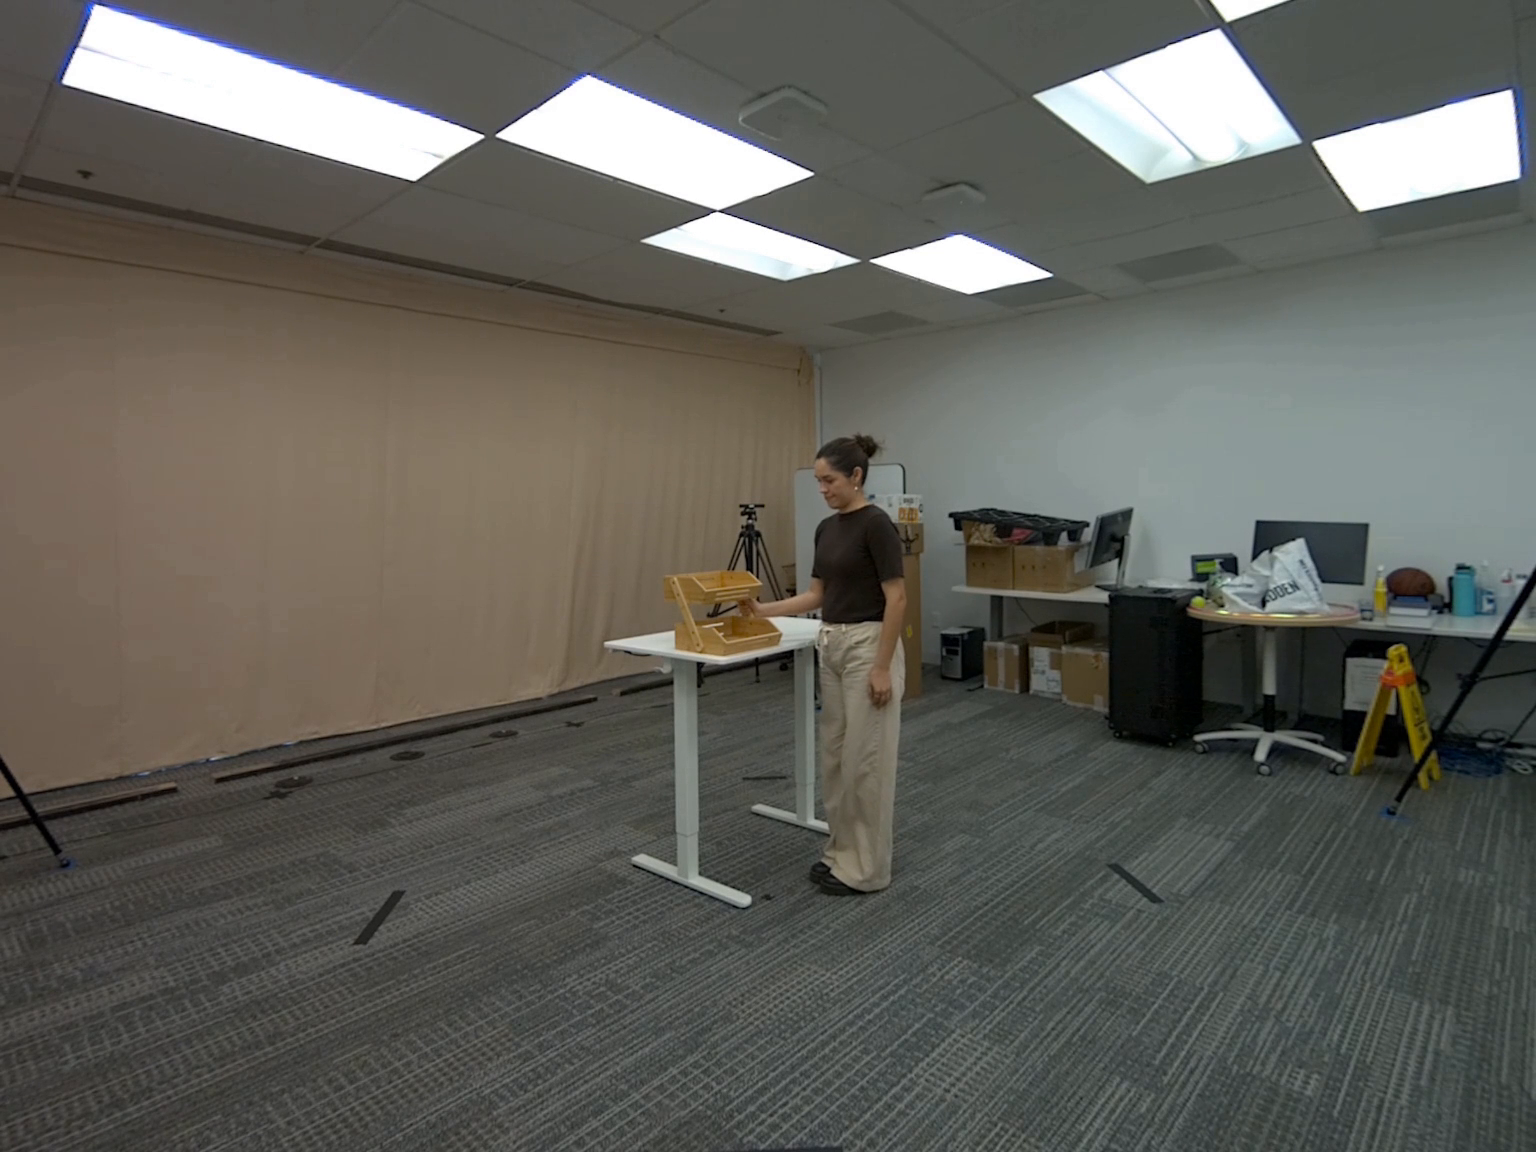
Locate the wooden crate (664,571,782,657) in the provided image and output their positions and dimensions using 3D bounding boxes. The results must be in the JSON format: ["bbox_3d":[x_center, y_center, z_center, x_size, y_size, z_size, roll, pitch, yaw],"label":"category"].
[{"bbox_3d":[-0.156,0.125,3.029,0.312,0.273,0.314,1,4,42],"label":"wooden crate"}]
